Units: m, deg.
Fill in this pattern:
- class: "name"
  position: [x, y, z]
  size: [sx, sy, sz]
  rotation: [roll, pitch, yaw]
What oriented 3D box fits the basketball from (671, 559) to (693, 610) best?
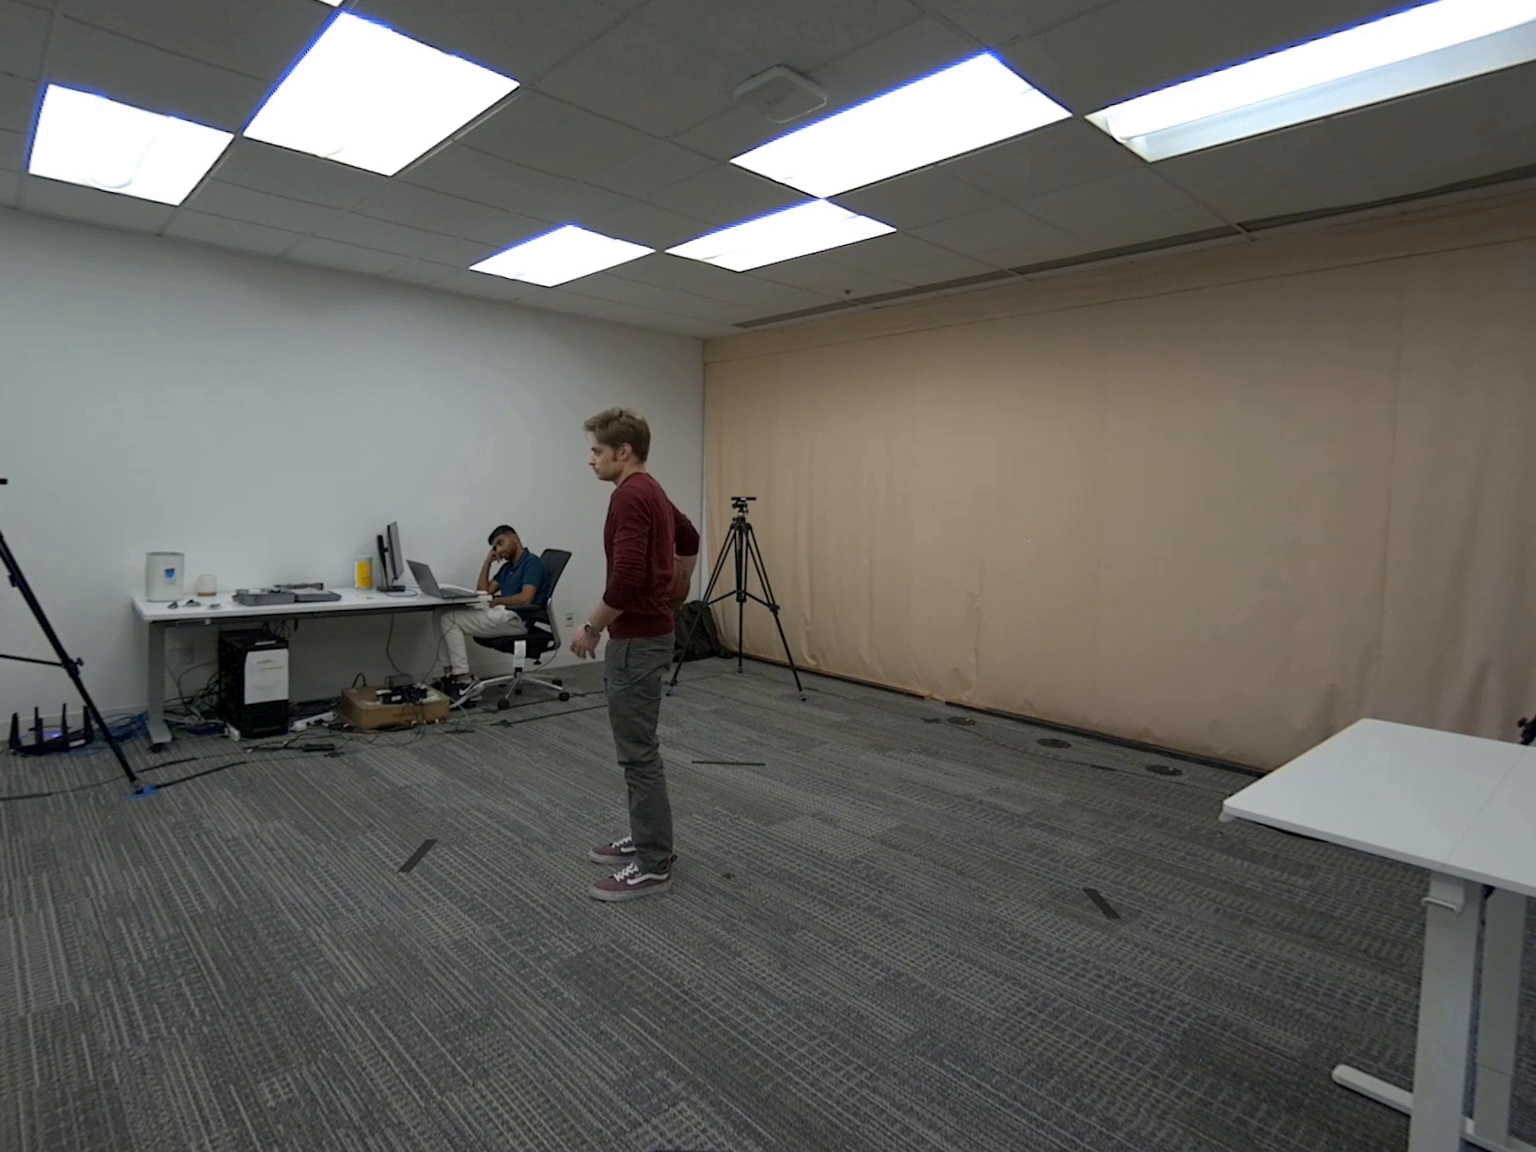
- class: "basketball"
  position: [-0.428, 0.030, 3.287]
  size: [0.236, 0.235, 0.237]
  rotation: [1, 4, -1]
